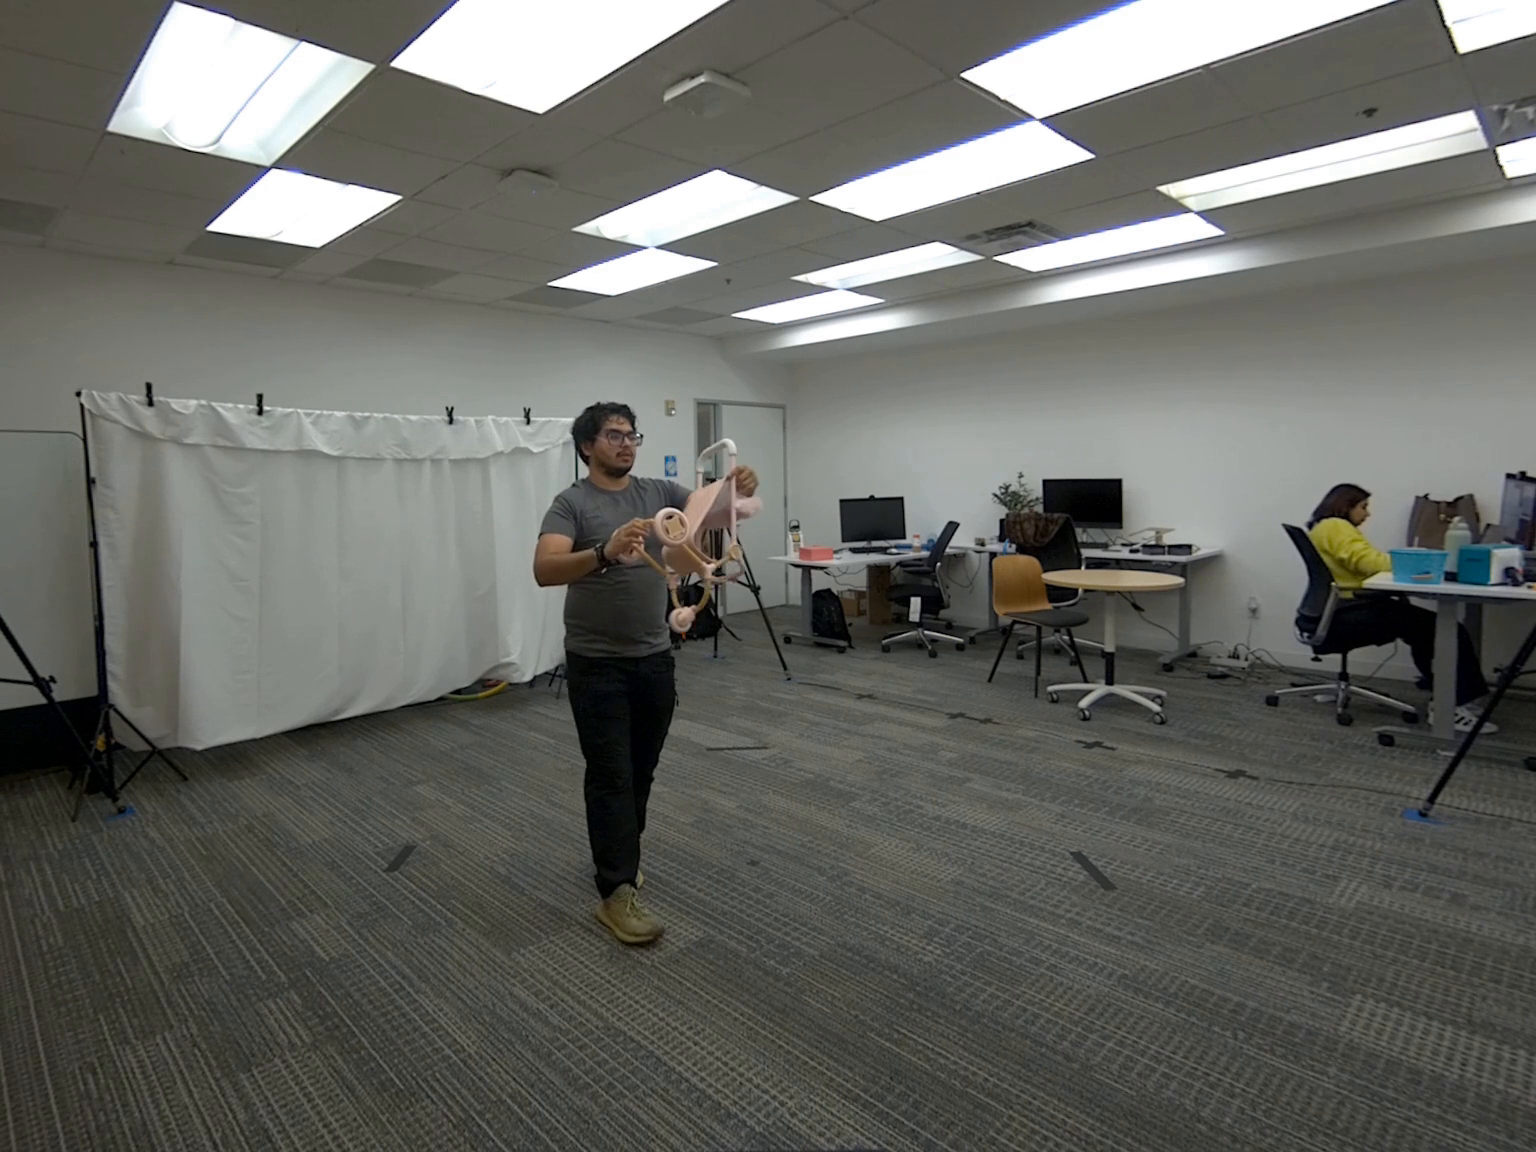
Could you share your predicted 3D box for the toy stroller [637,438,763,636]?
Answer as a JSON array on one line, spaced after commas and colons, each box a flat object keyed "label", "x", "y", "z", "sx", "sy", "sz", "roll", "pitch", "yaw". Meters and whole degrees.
[{"label": "toy stroller", "x": -0.190, "y": -0.119, "z": 2.509, "sx": 0.285, "sy": 0.336, "sz": 0.535, "roll": -25, "pitch": 19, "yaw": 51}]
